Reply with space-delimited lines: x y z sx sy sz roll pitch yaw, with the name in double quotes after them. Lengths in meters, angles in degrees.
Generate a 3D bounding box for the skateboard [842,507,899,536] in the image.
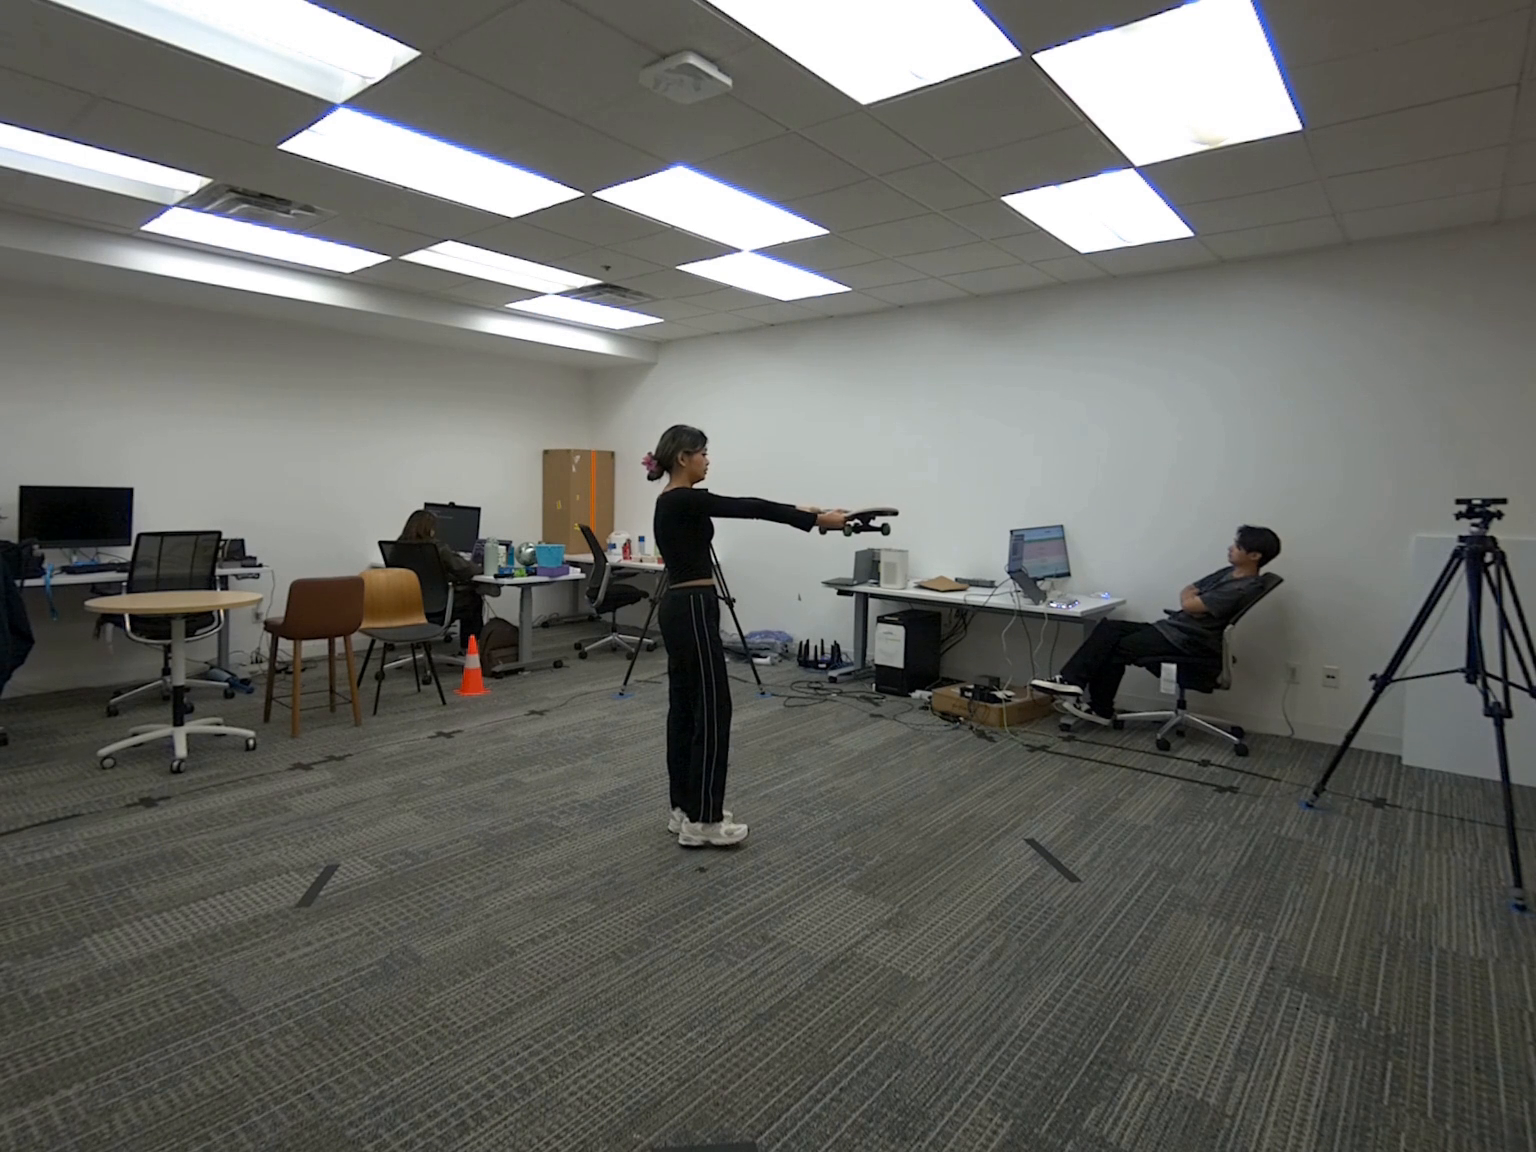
0.340 -0.223 3.514 0.191 0.110 0.795 -1 4 -11 "skateboard"
